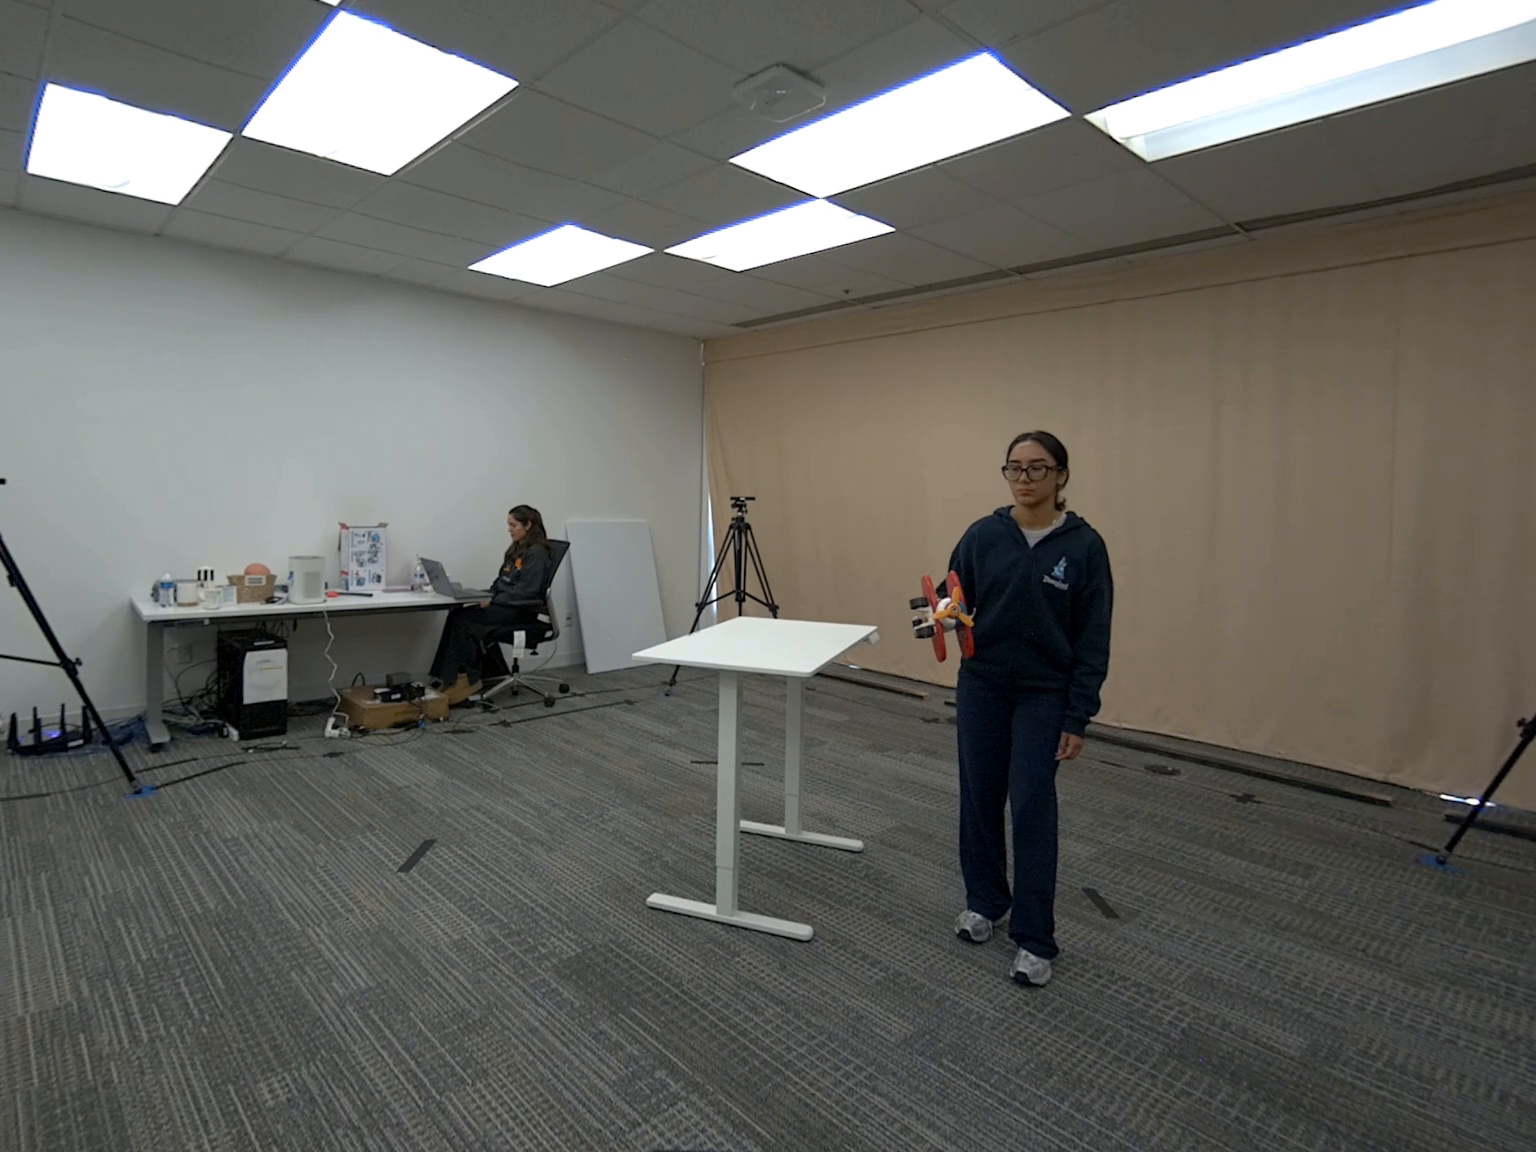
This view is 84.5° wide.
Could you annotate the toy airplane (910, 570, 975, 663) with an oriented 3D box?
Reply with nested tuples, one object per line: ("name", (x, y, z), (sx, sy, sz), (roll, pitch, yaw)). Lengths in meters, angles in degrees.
("toy airplane", (0.503, 0.113, 2.494), (0.157, 0.248, 0.260), (-10, 12, 11))
